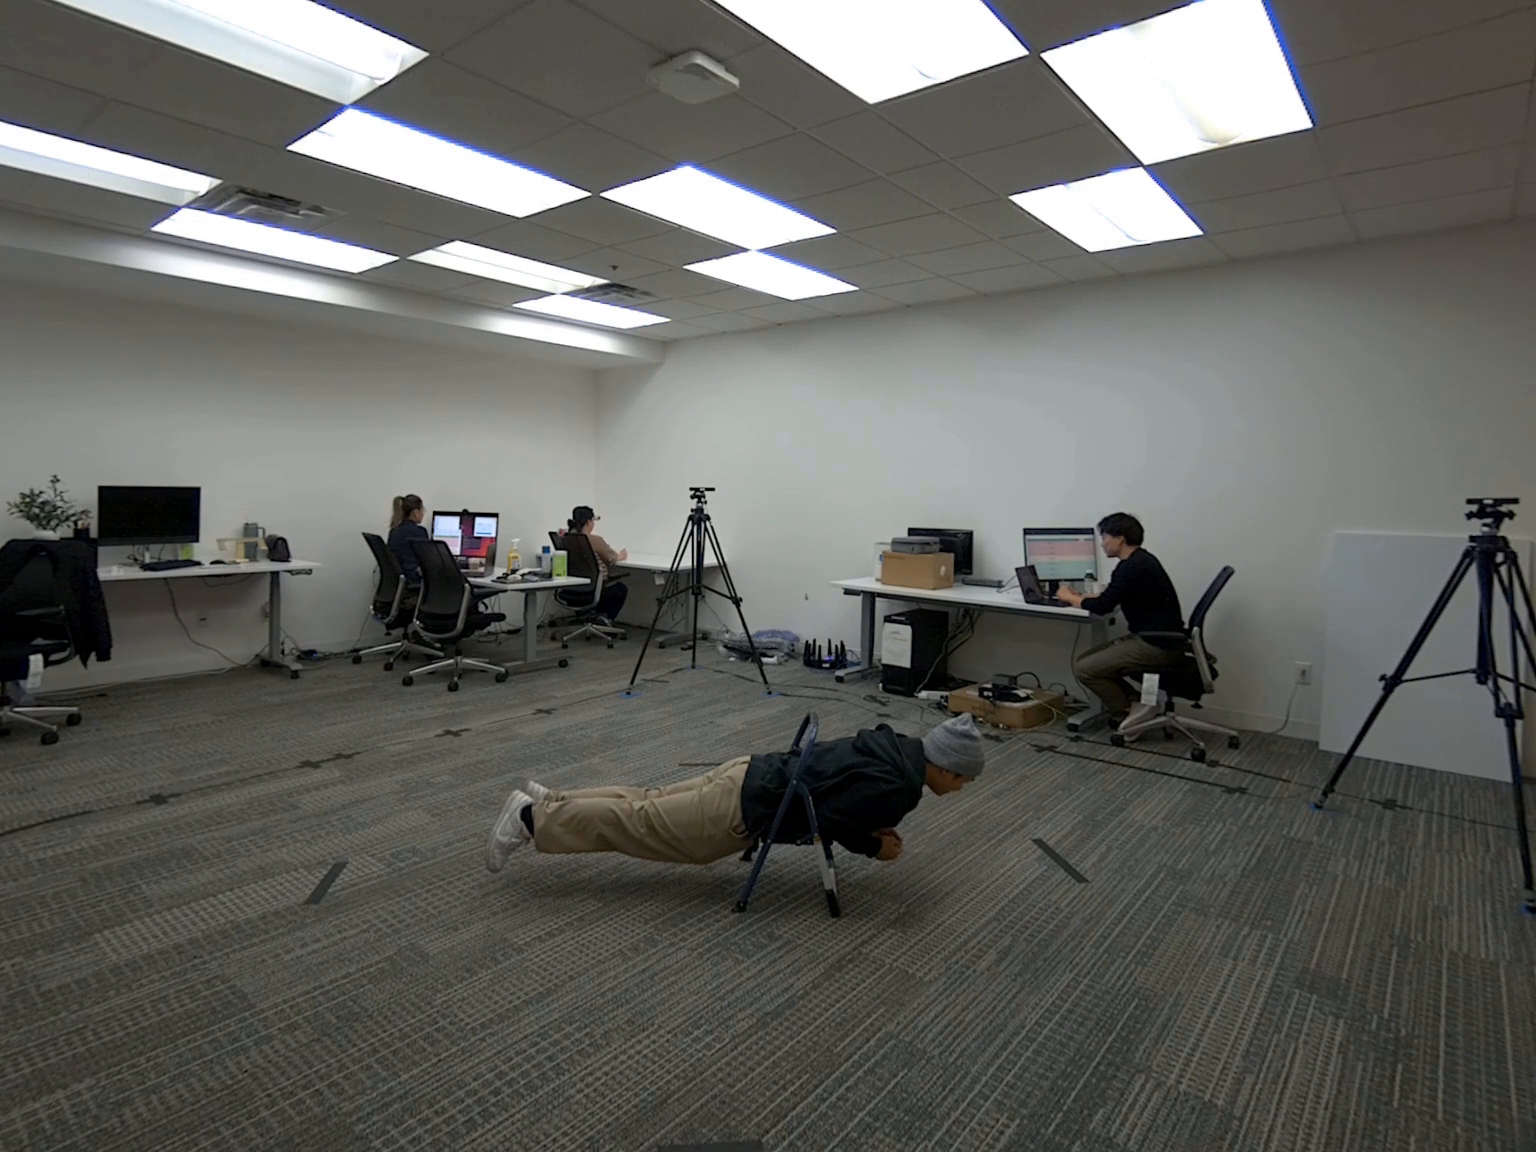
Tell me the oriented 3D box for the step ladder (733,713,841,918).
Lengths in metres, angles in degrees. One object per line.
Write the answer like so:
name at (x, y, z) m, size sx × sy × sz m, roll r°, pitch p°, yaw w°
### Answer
step ladder at (0.069, 0.787, 2.970) m, size 0.350 × 0.604 × 0.431 m, roll 3°, pitch 4°, yaw 1°
